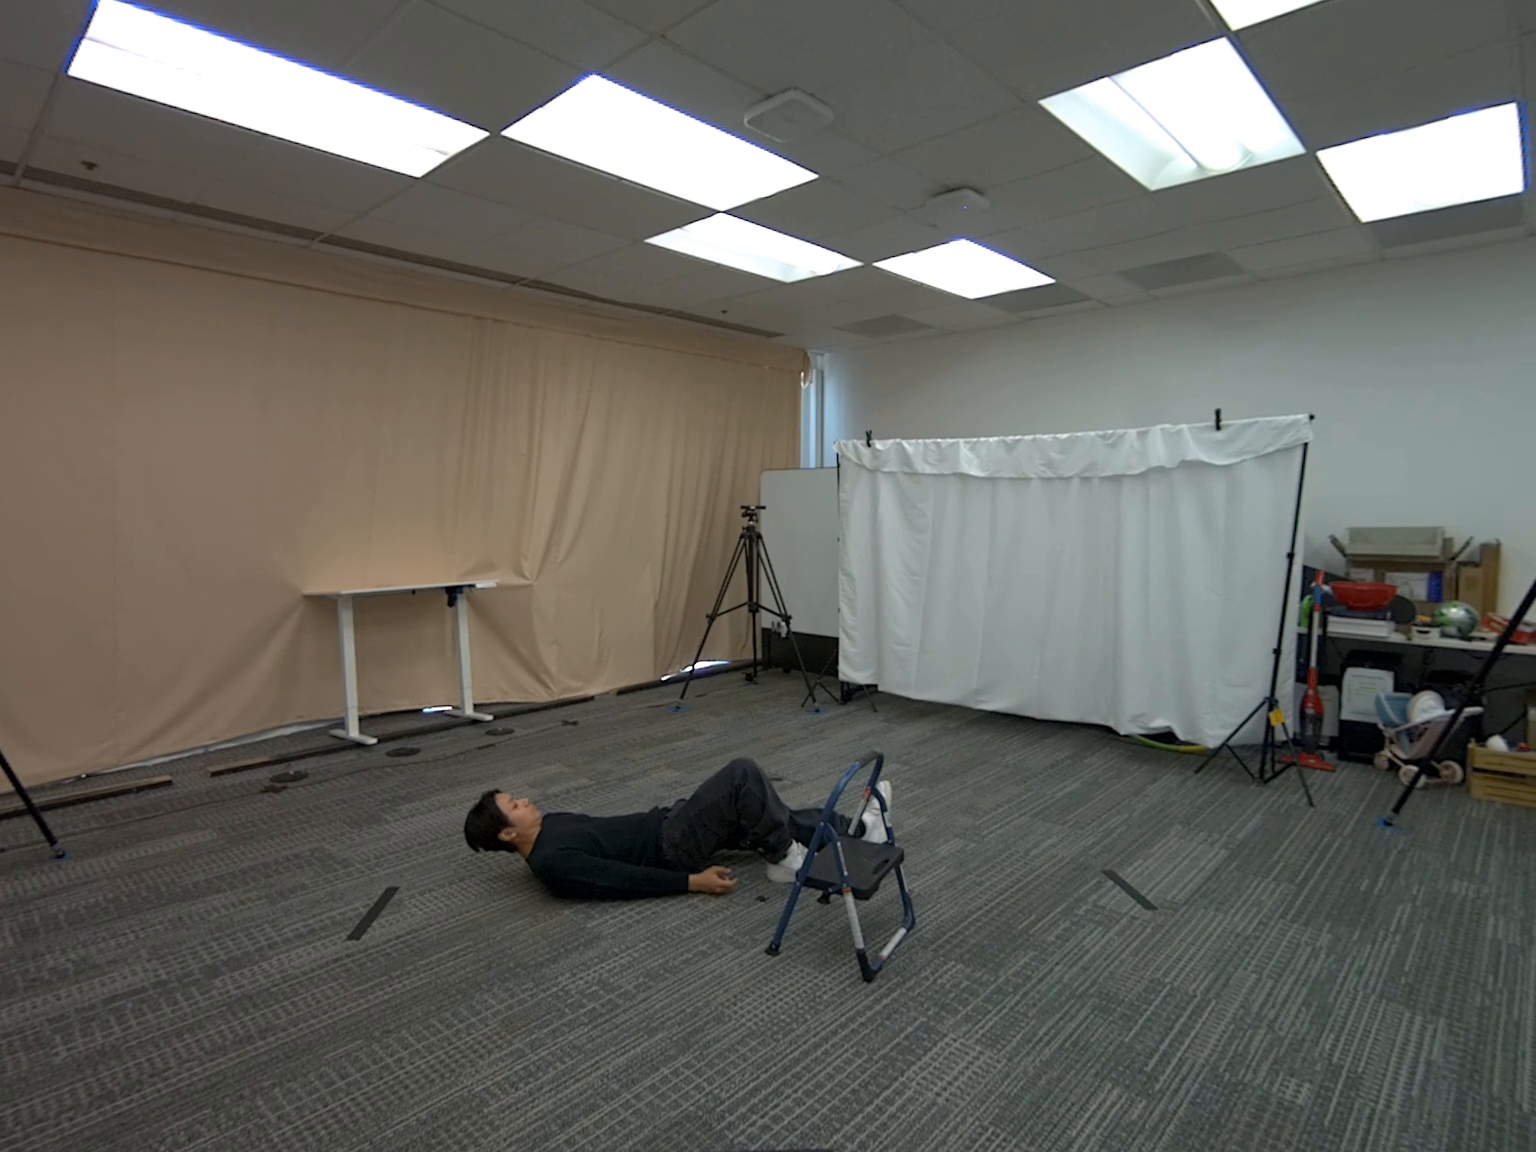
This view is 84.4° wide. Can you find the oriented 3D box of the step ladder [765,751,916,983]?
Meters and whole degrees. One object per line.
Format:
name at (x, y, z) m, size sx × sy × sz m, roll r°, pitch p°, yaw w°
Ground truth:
step ladder at (0.247, 0.863, 2.695) m, size 0.359 × 0.605 × 0.419 m, roll 2°, pitch 4°, yaw 29°
